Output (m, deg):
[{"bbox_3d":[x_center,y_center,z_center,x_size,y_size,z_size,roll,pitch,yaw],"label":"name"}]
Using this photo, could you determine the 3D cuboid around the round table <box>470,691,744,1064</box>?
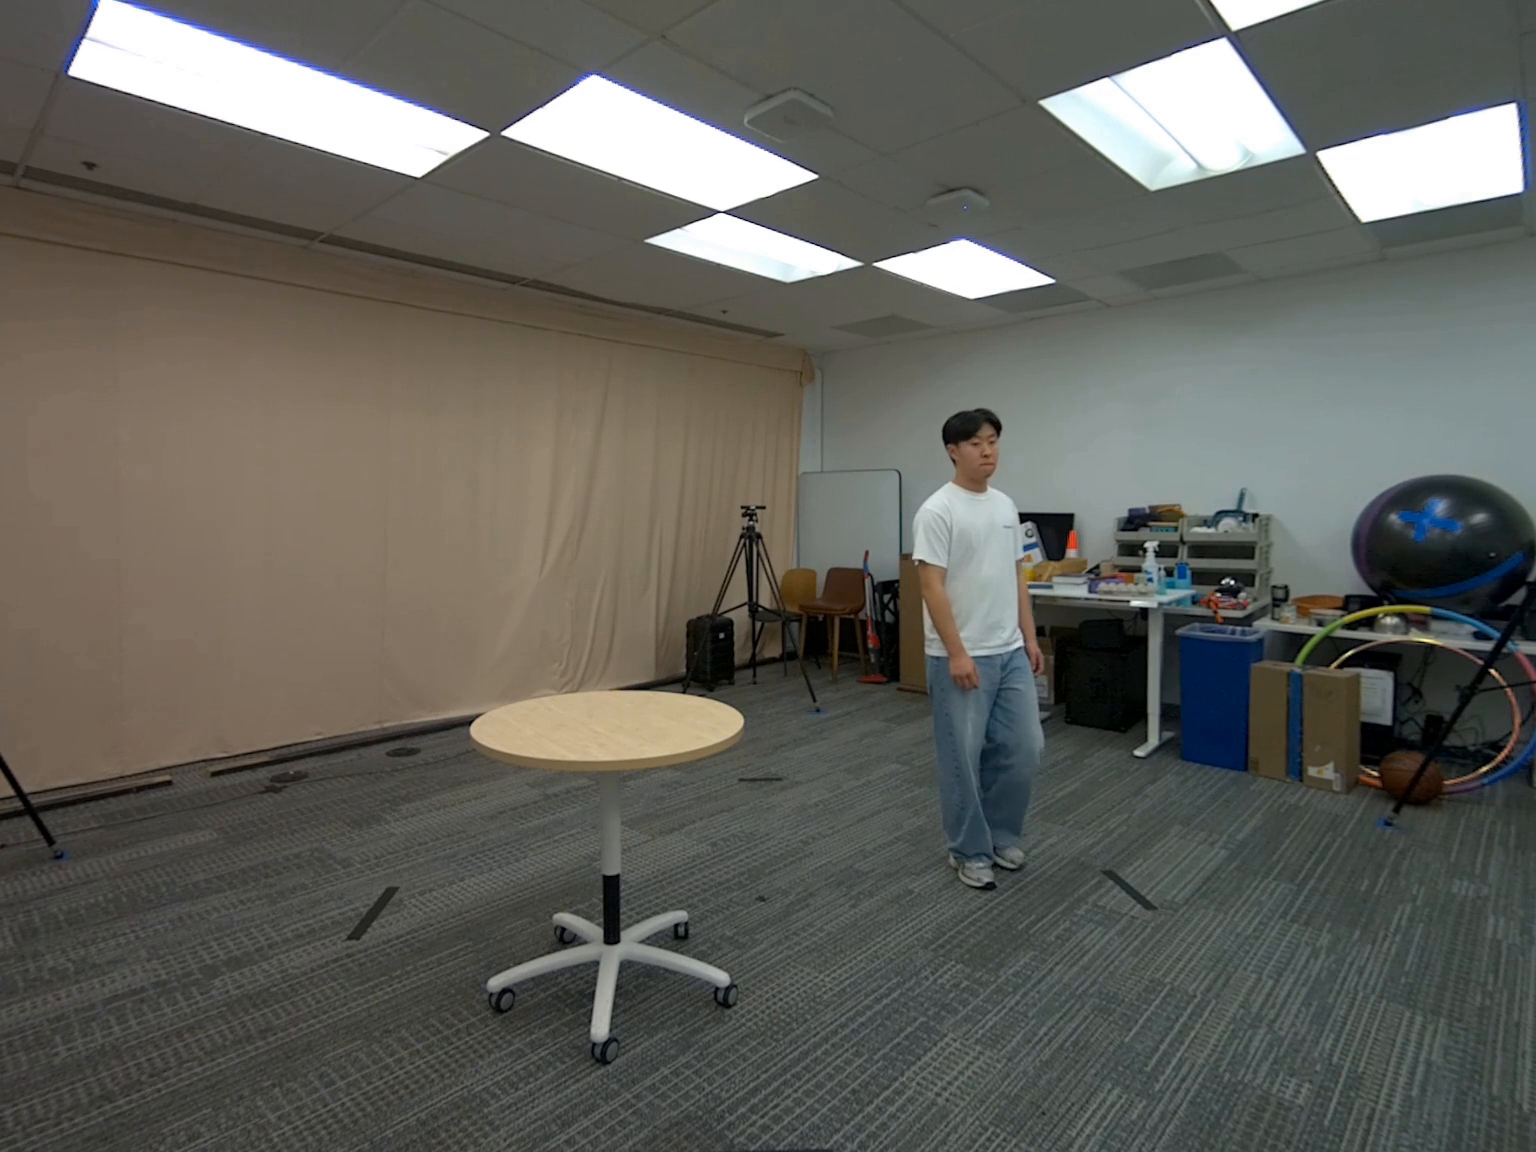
[{"bbox_3d":[-0.442,0.807,2.410,0.763,0.792,0.767,0,4,-2],"label":"round table"}]
